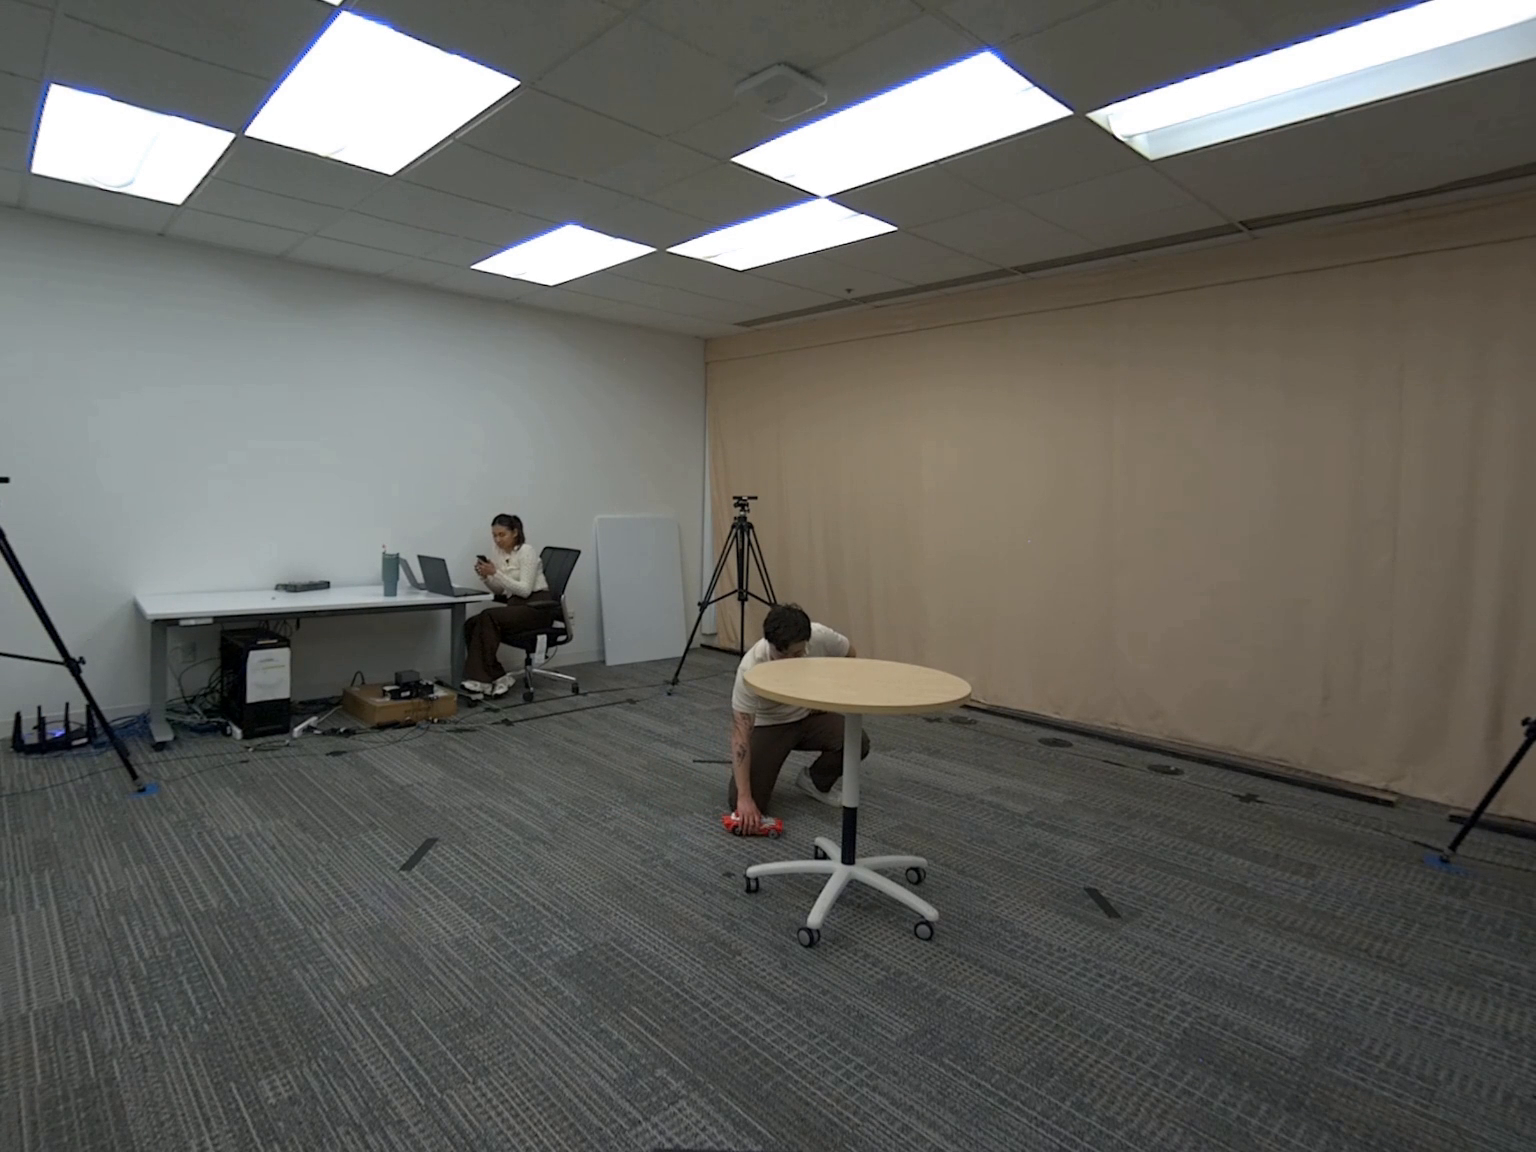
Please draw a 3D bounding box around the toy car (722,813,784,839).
[{"bbox_3d":[-0.080,1.040,3.517,0.256,0.083,0.130,12,6,7],"label":"toy car"}]
